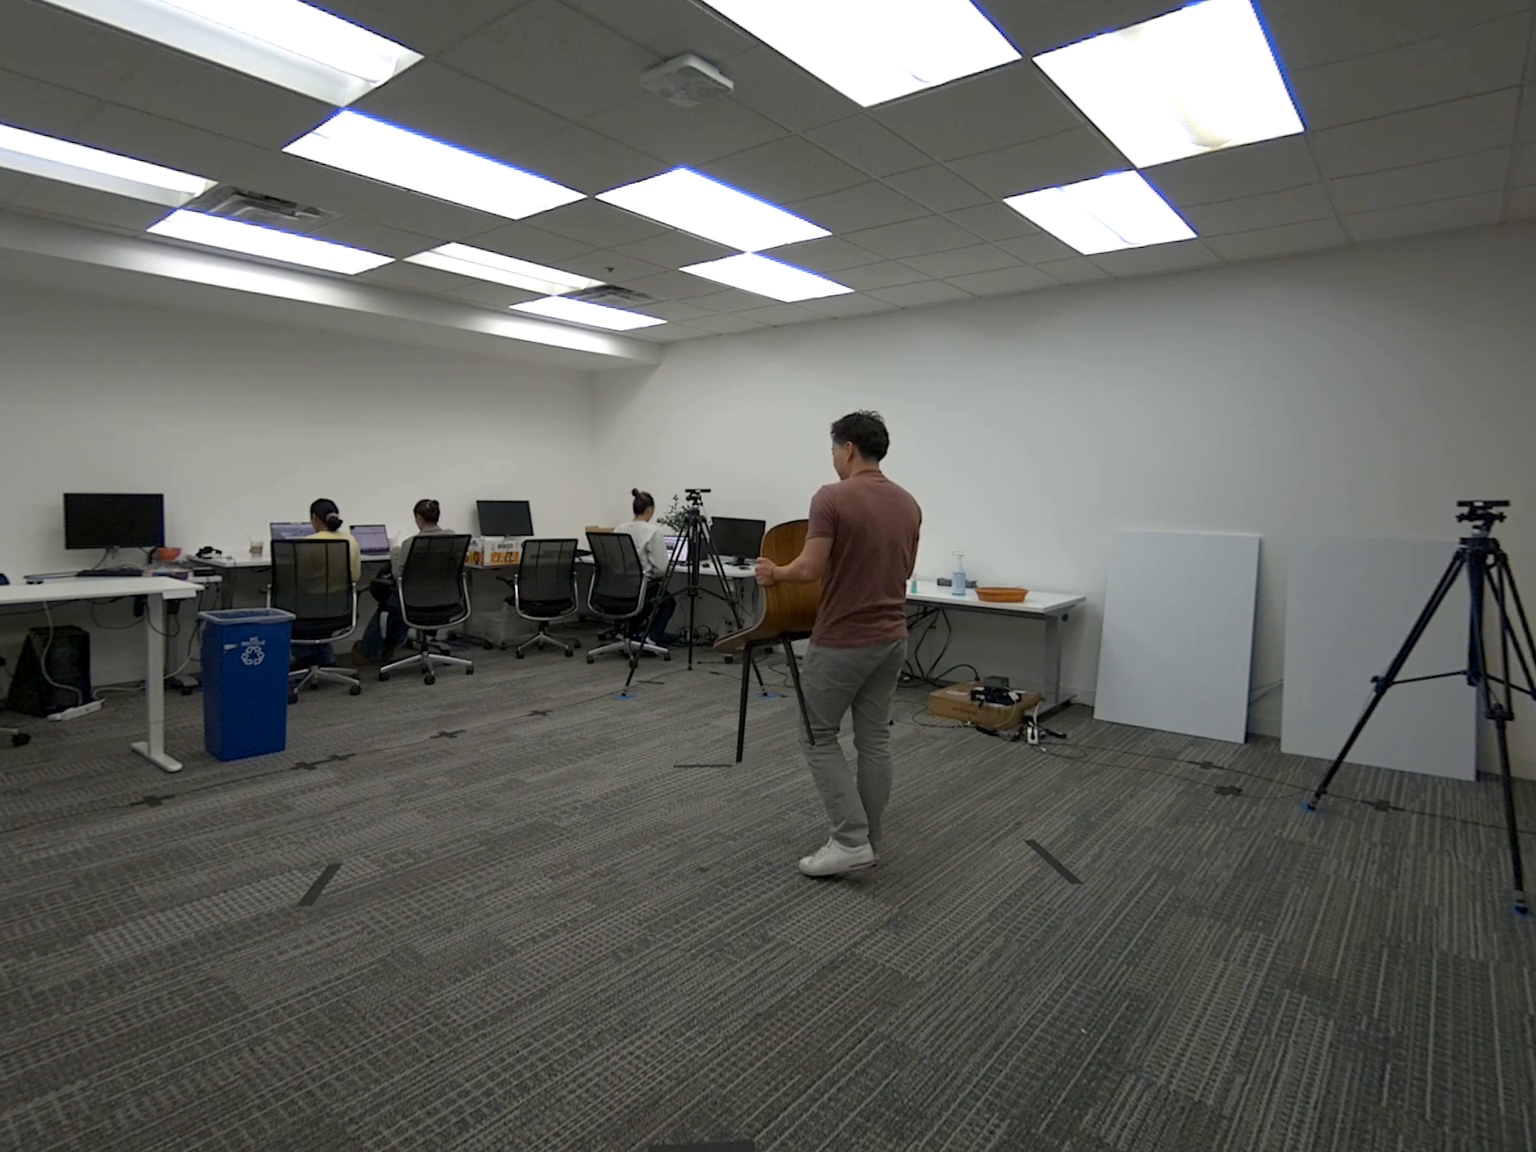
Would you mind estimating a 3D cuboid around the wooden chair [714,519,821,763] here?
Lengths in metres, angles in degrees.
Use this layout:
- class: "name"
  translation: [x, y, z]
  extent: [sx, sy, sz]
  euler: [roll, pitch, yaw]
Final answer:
- class: "wooden chair"
  translation: [0.058, 0.258, 3.450]
  extent: [0.464, 0.888, 0.533]
  euler: [-4, -12, -41]
